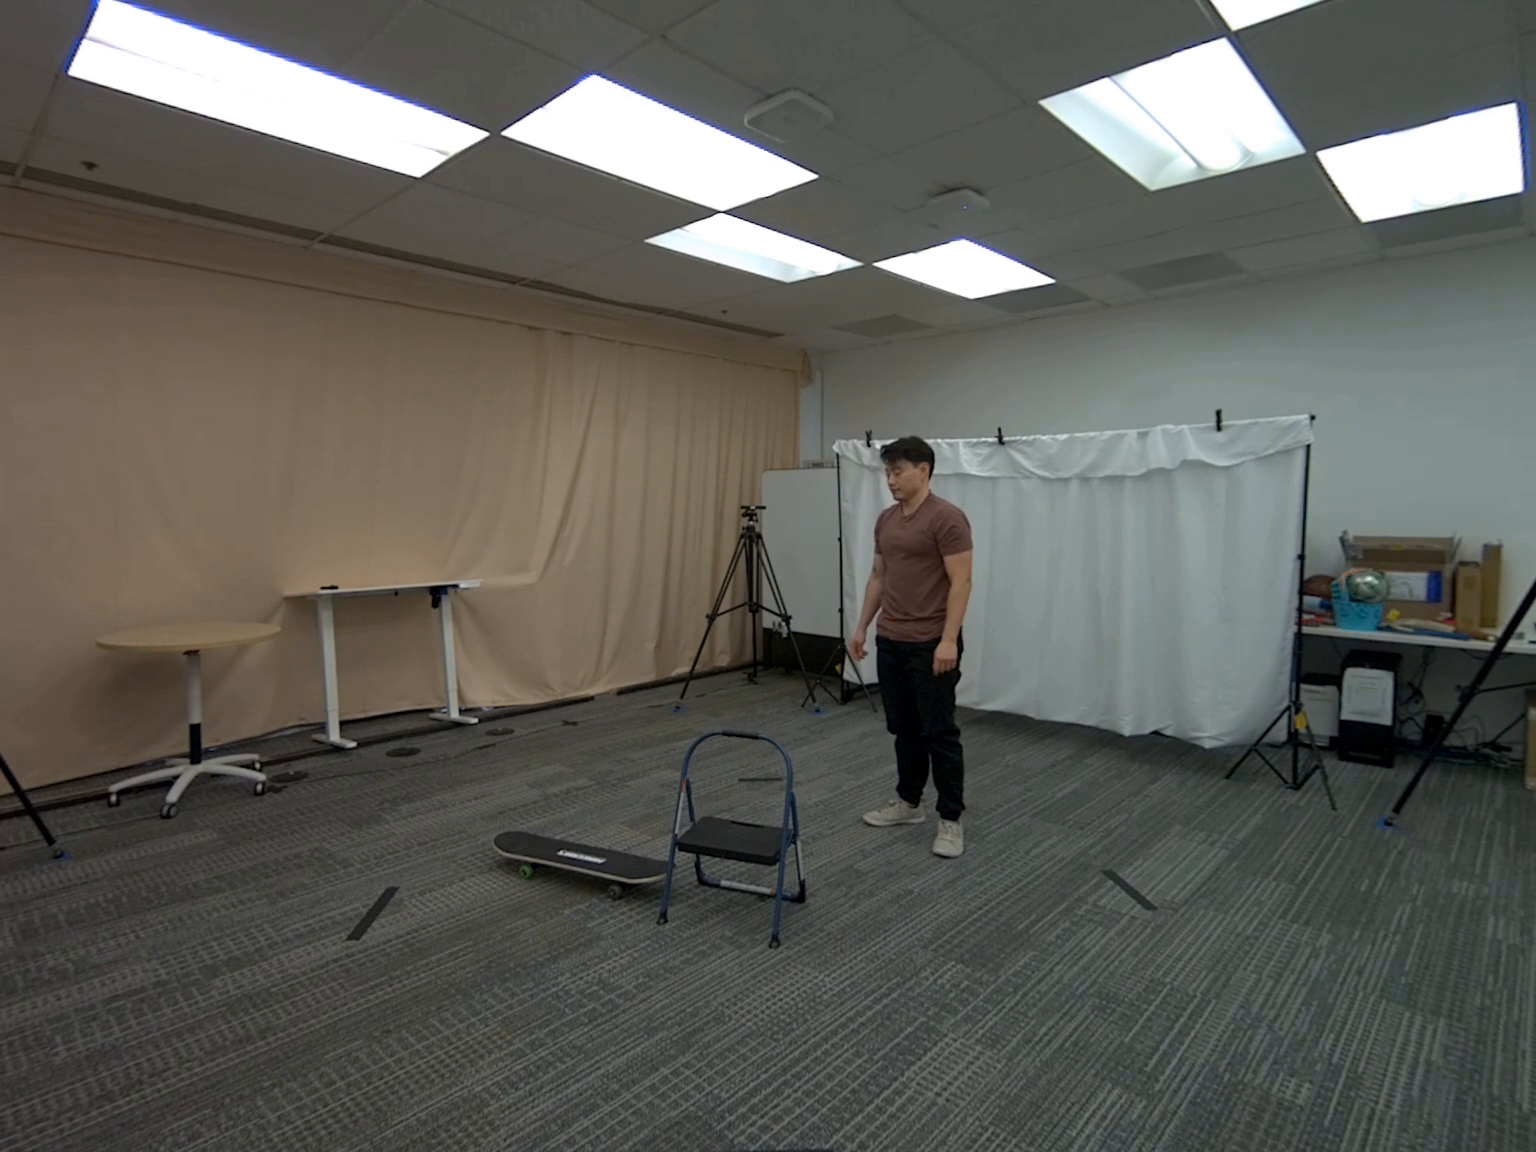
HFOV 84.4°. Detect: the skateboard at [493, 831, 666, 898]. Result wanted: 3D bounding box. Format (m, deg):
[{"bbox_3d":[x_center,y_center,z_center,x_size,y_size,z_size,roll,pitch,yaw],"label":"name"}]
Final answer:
[{"bbox_3d":[-0.684,1.073,3.147,0.805,0.110,0.189,1,4,25],"label":"skateboard"}]
